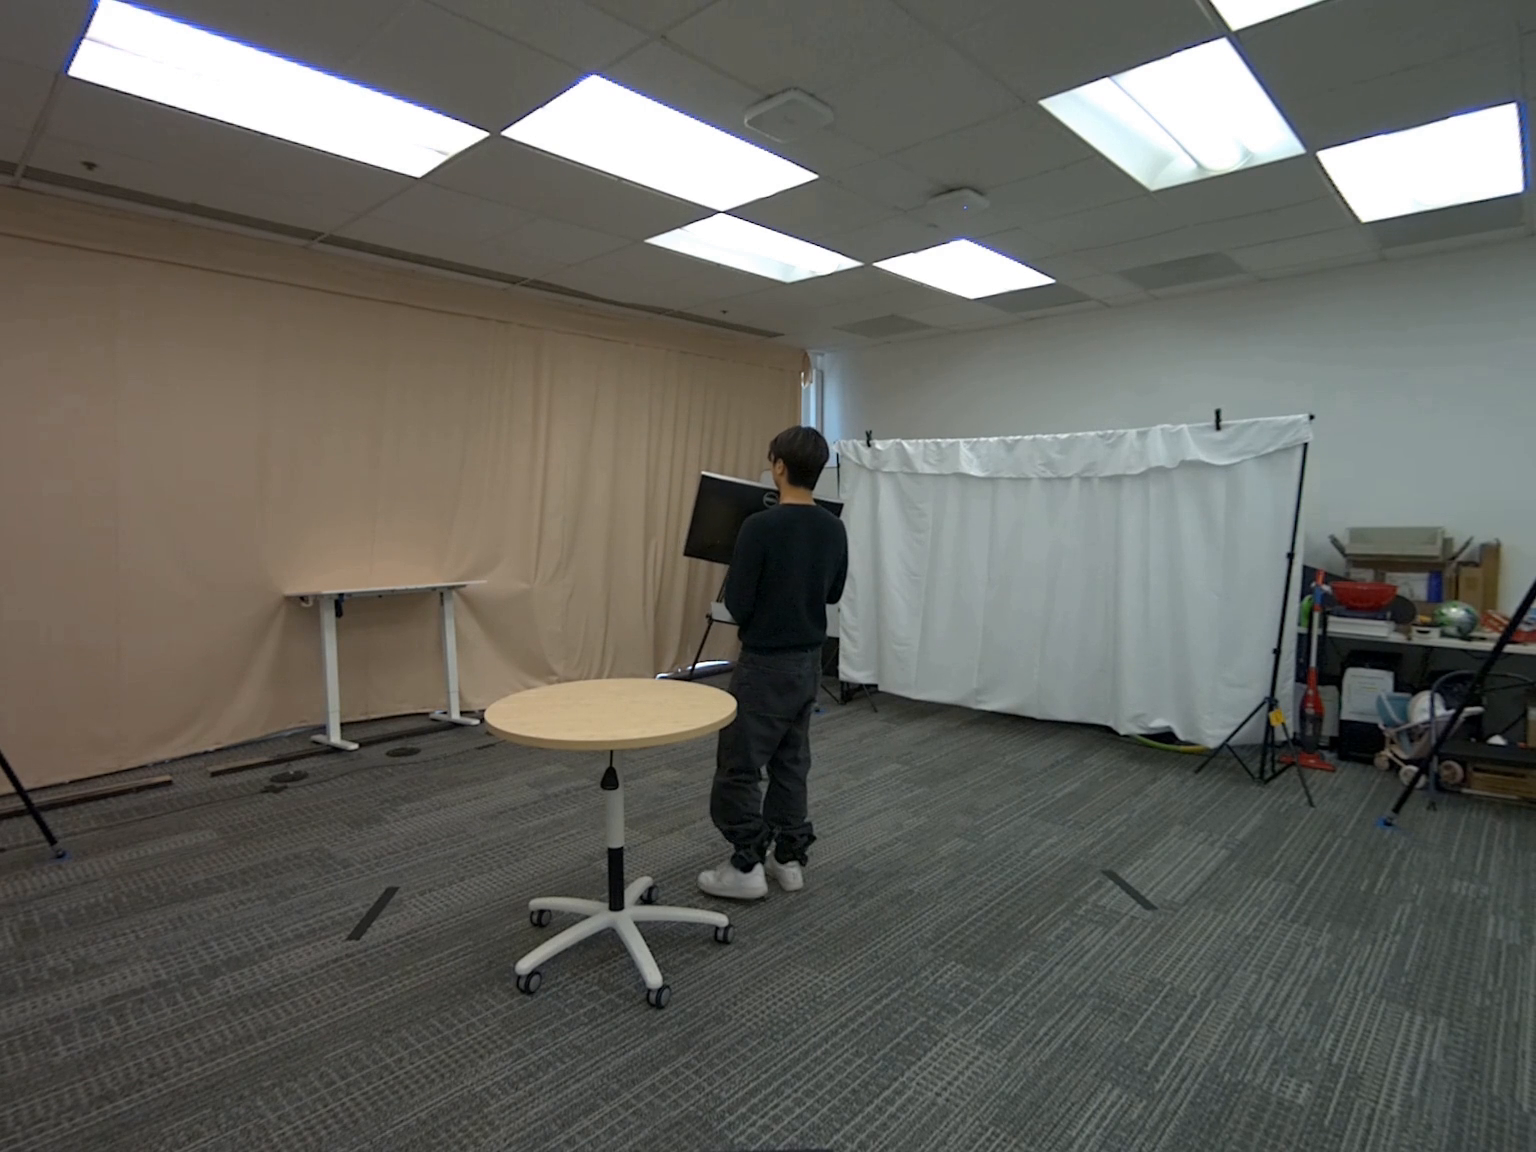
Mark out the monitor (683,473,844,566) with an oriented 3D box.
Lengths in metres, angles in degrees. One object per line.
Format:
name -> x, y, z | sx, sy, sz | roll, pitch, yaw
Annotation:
monitor -> -0.047, -0.088, 3.251 | 0.526, 0.514, 0.176 | 12, 10, -6
